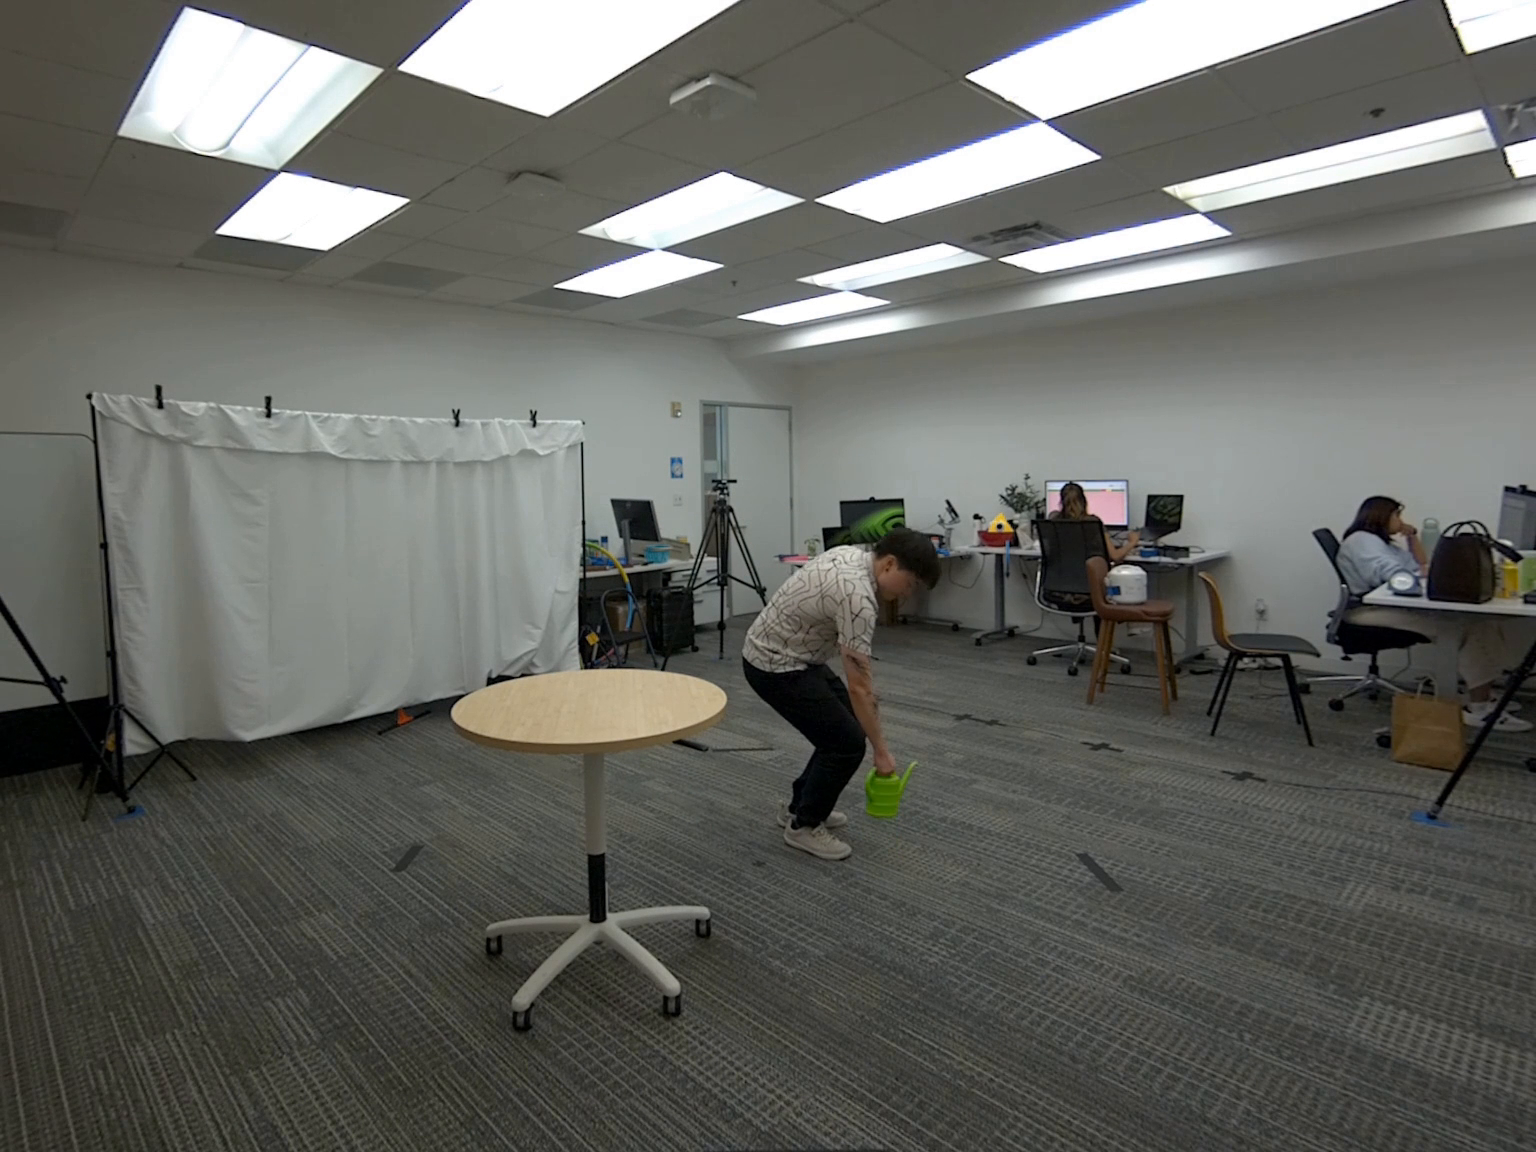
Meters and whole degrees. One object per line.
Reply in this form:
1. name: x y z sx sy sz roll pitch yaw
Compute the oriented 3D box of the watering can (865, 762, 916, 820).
1. watering can: 0.447 0.774 3.109 0.271 0.177 0.100 2 -1 -33
